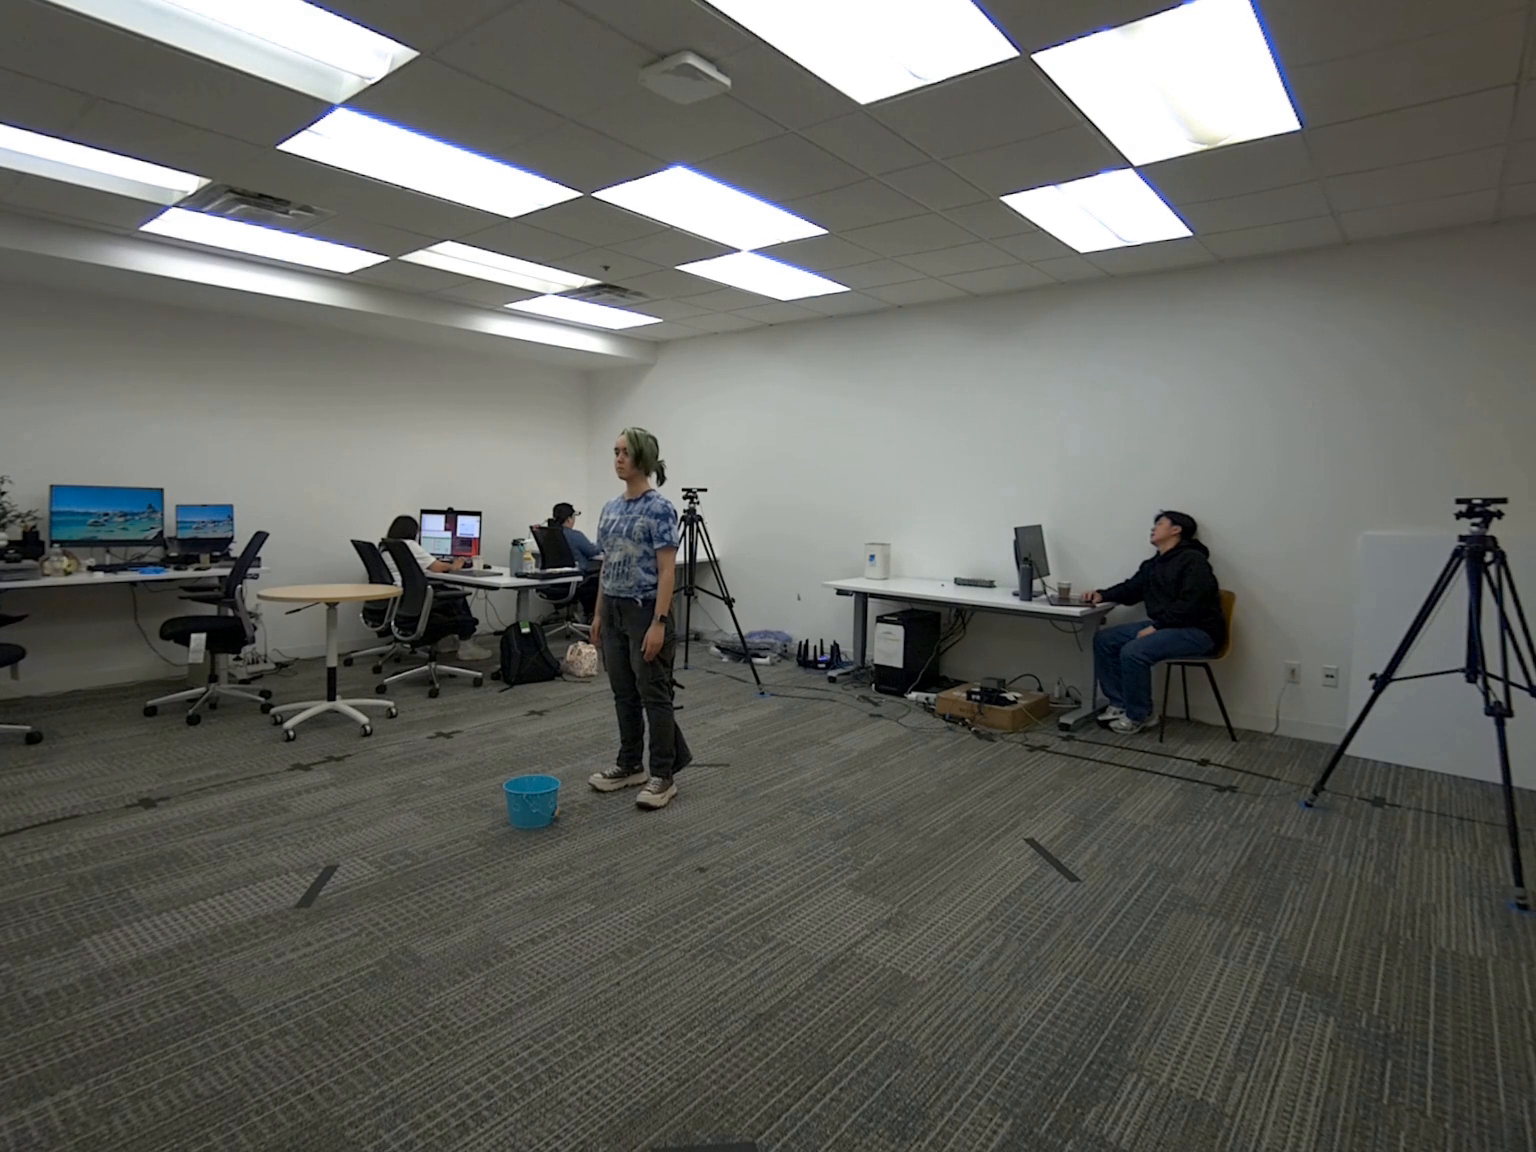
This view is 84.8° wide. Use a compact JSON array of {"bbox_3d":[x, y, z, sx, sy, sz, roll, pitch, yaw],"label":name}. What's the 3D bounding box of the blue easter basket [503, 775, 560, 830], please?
[{"bbox_3d":[-0.995,0.939,3.544,0.243,0.155,0.245,1,6,-2],"label":"blue easter basket"}]
